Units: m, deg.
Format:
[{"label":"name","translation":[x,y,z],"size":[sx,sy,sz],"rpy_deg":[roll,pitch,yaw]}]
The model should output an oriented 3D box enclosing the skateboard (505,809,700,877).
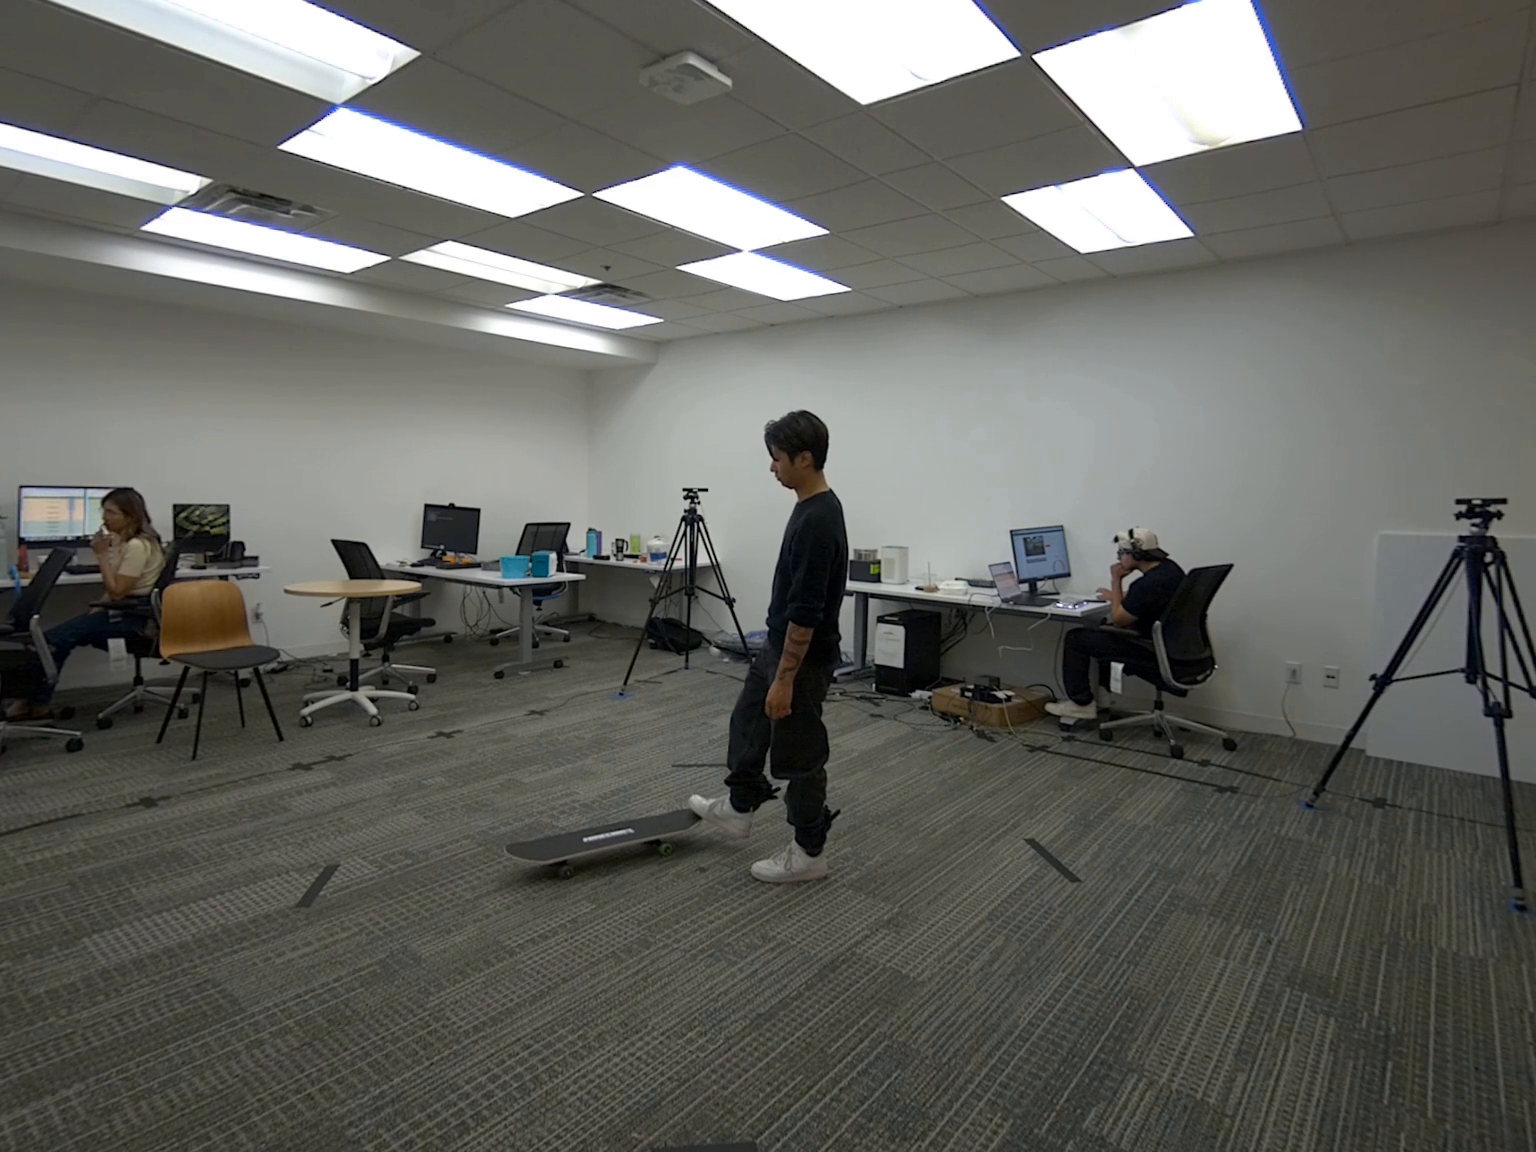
[{"label":"skateboard","translation":[-0.601,1.000,3.181],"size":[0.764,0.110,0.199],"rpy_deg":[-3,6,-32]}]
